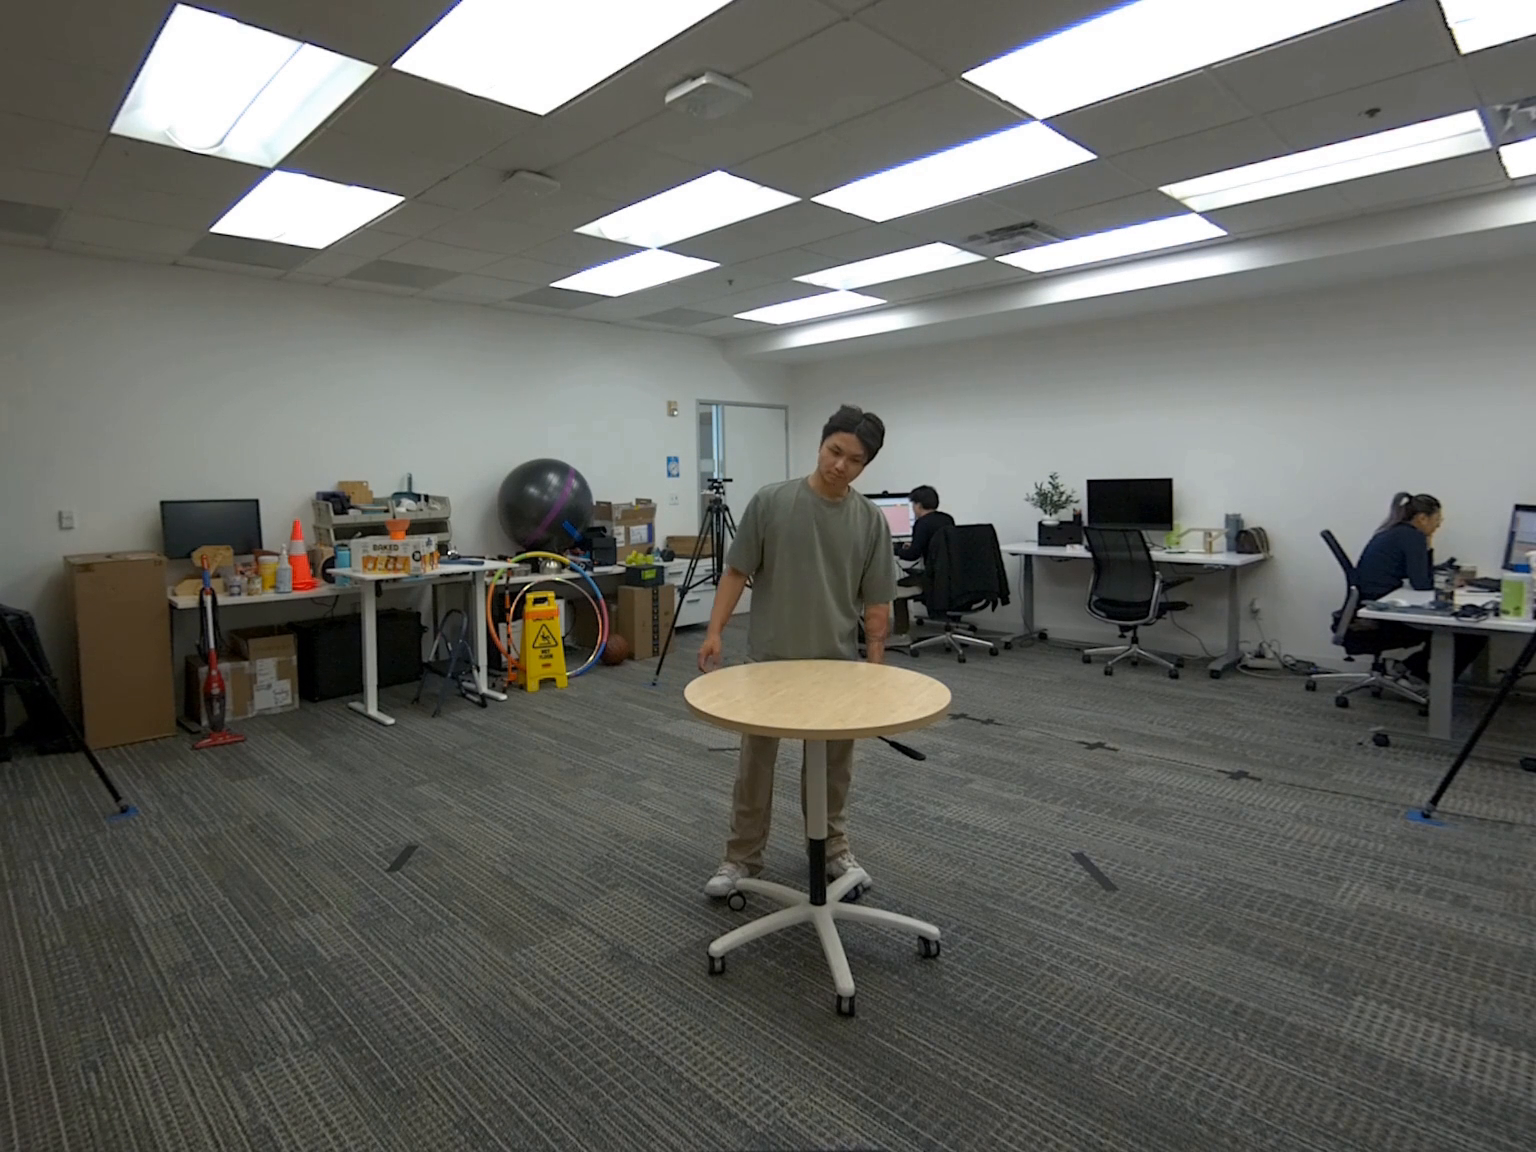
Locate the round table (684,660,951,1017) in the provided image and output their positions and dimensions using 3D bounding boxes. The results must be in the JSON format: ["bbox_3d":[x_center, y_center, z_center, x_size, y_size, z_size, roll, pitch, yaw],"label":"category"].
[{"bbox_3d":[0.154,0.720,2.508,0.784,0.783,0.790,-1,6,-2],"label":"round table"}]
